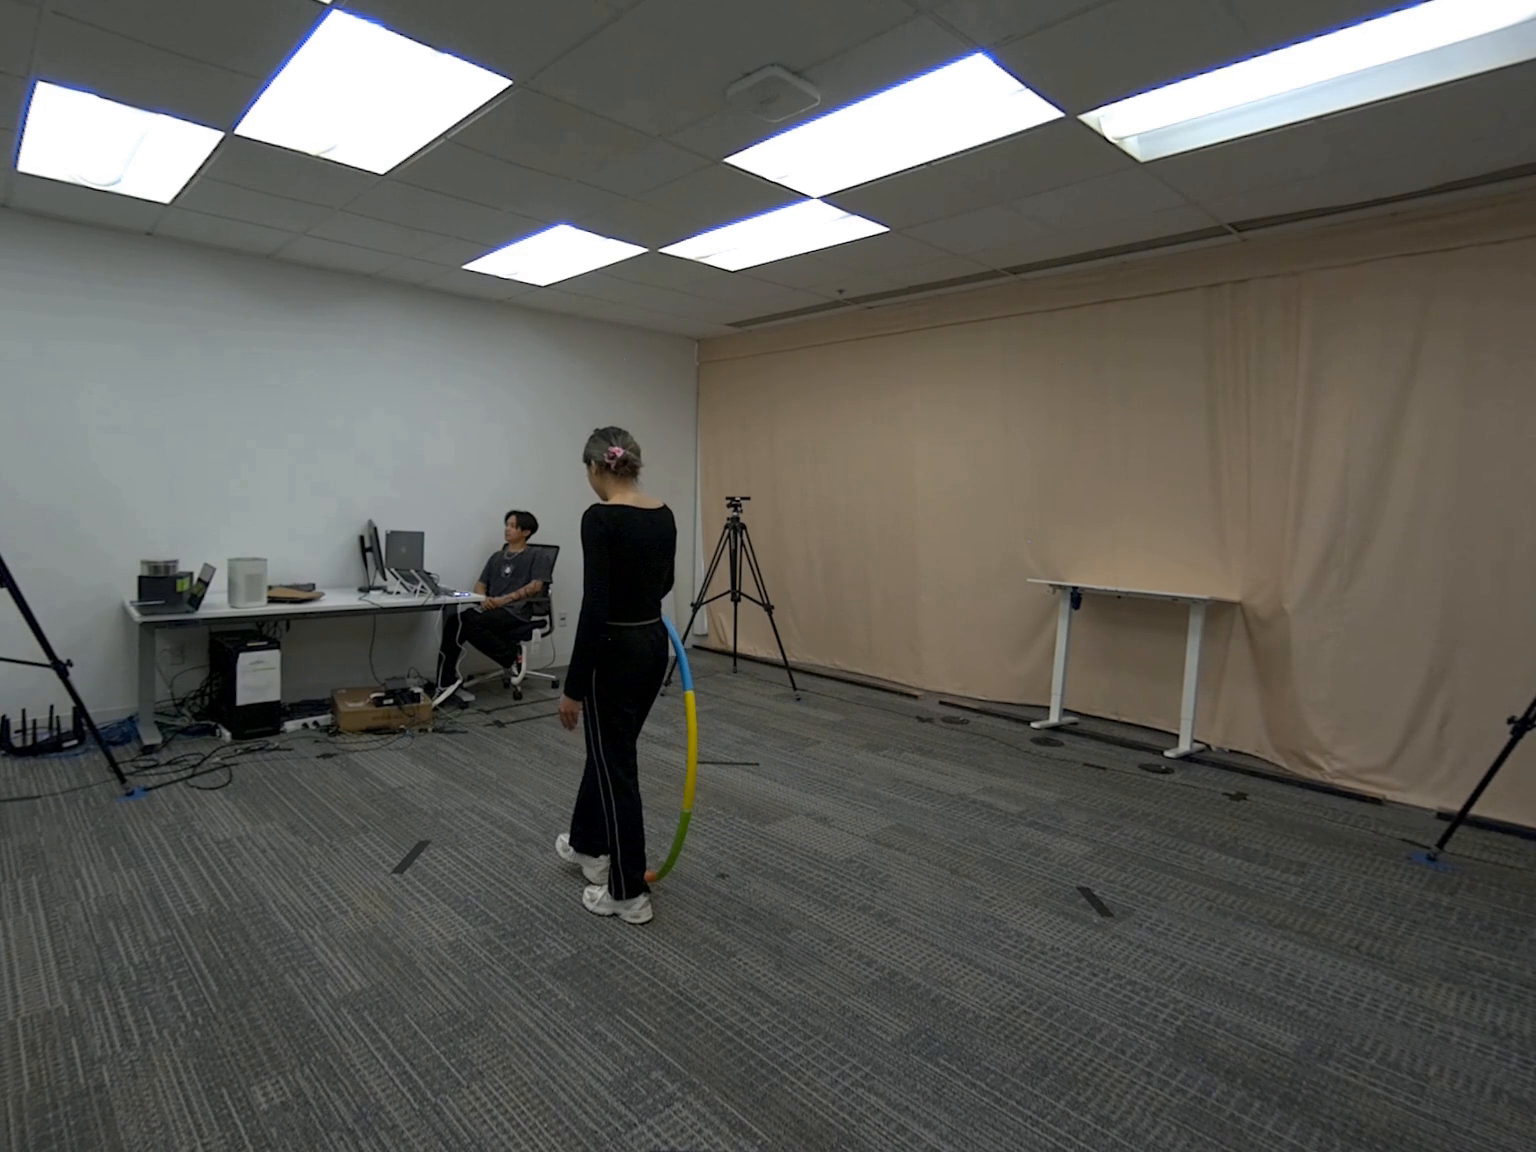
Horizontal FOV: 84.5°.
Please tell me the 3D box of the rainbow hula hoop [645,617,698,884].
[{"bbox_3d":[-0.468,0.613,3.115,0.035,0.977,0.998,5,3,-25],"label":"rainbow hula hoop"}]
